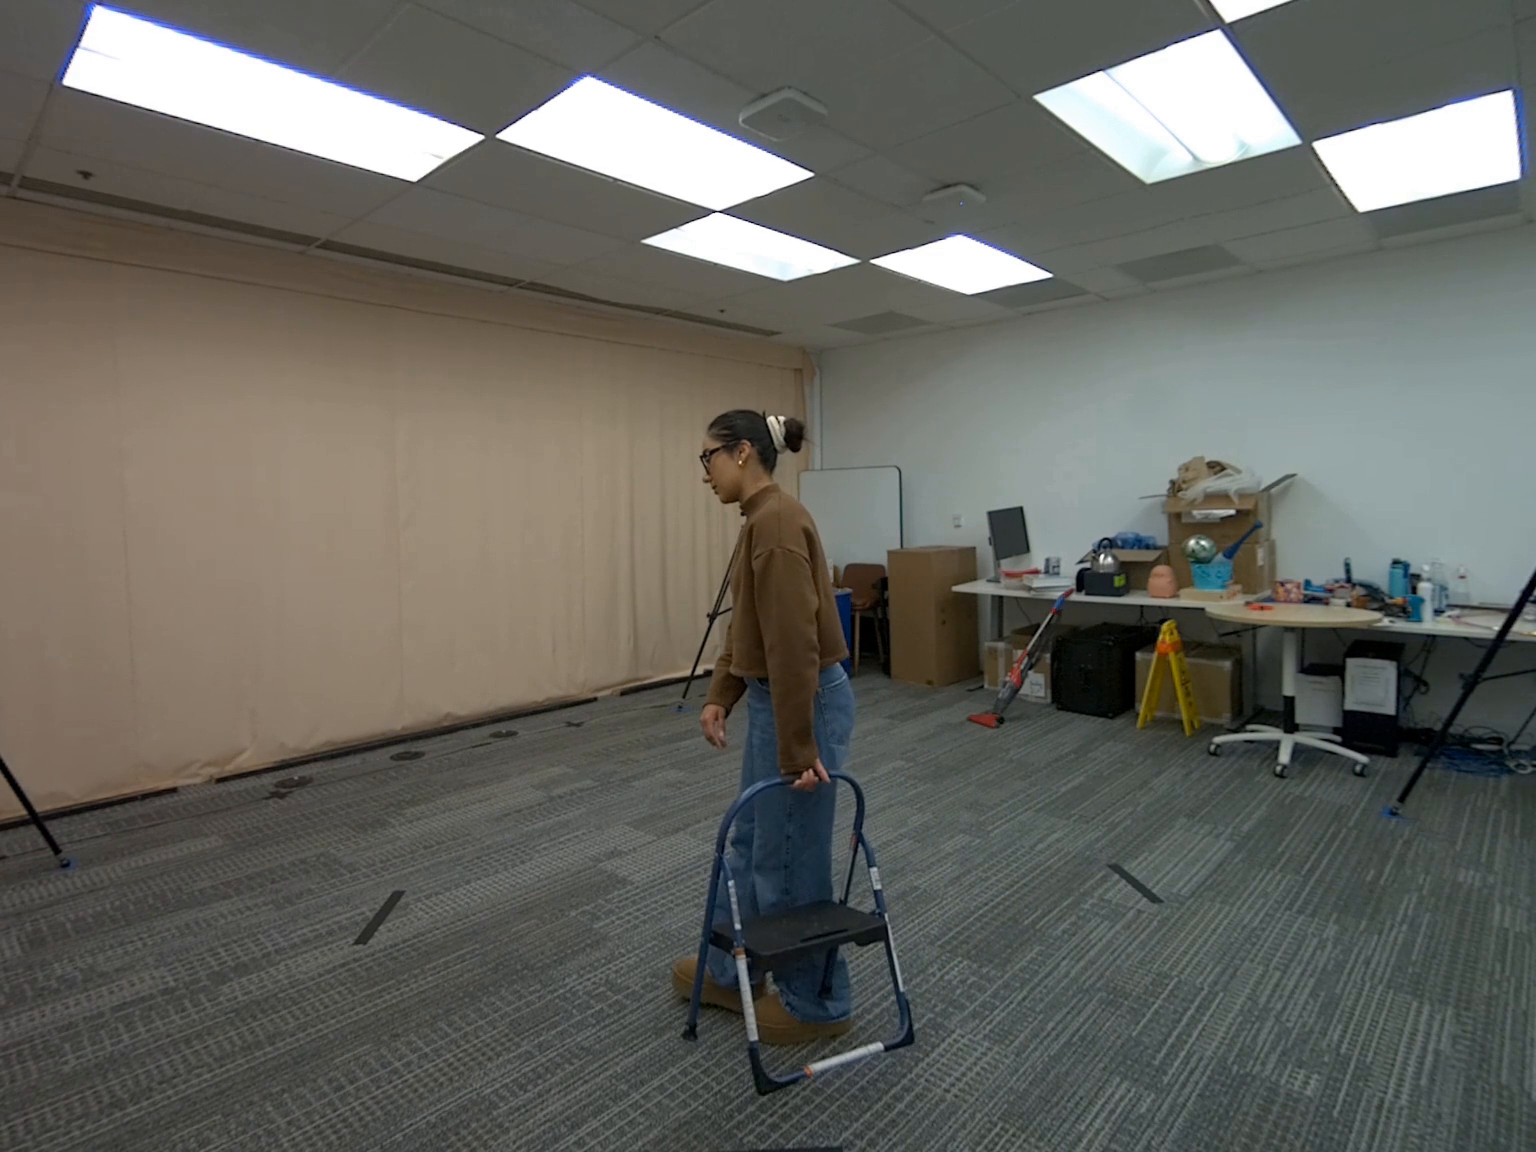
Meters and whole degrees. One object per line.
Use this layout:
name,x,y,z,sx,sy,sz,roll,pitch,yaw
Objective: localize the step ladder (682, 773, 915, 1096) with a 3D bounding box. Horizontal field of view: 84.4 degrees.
step ladder,0.065,0.767,1.956,0.418,0.609,0.358,1,-7,-31
